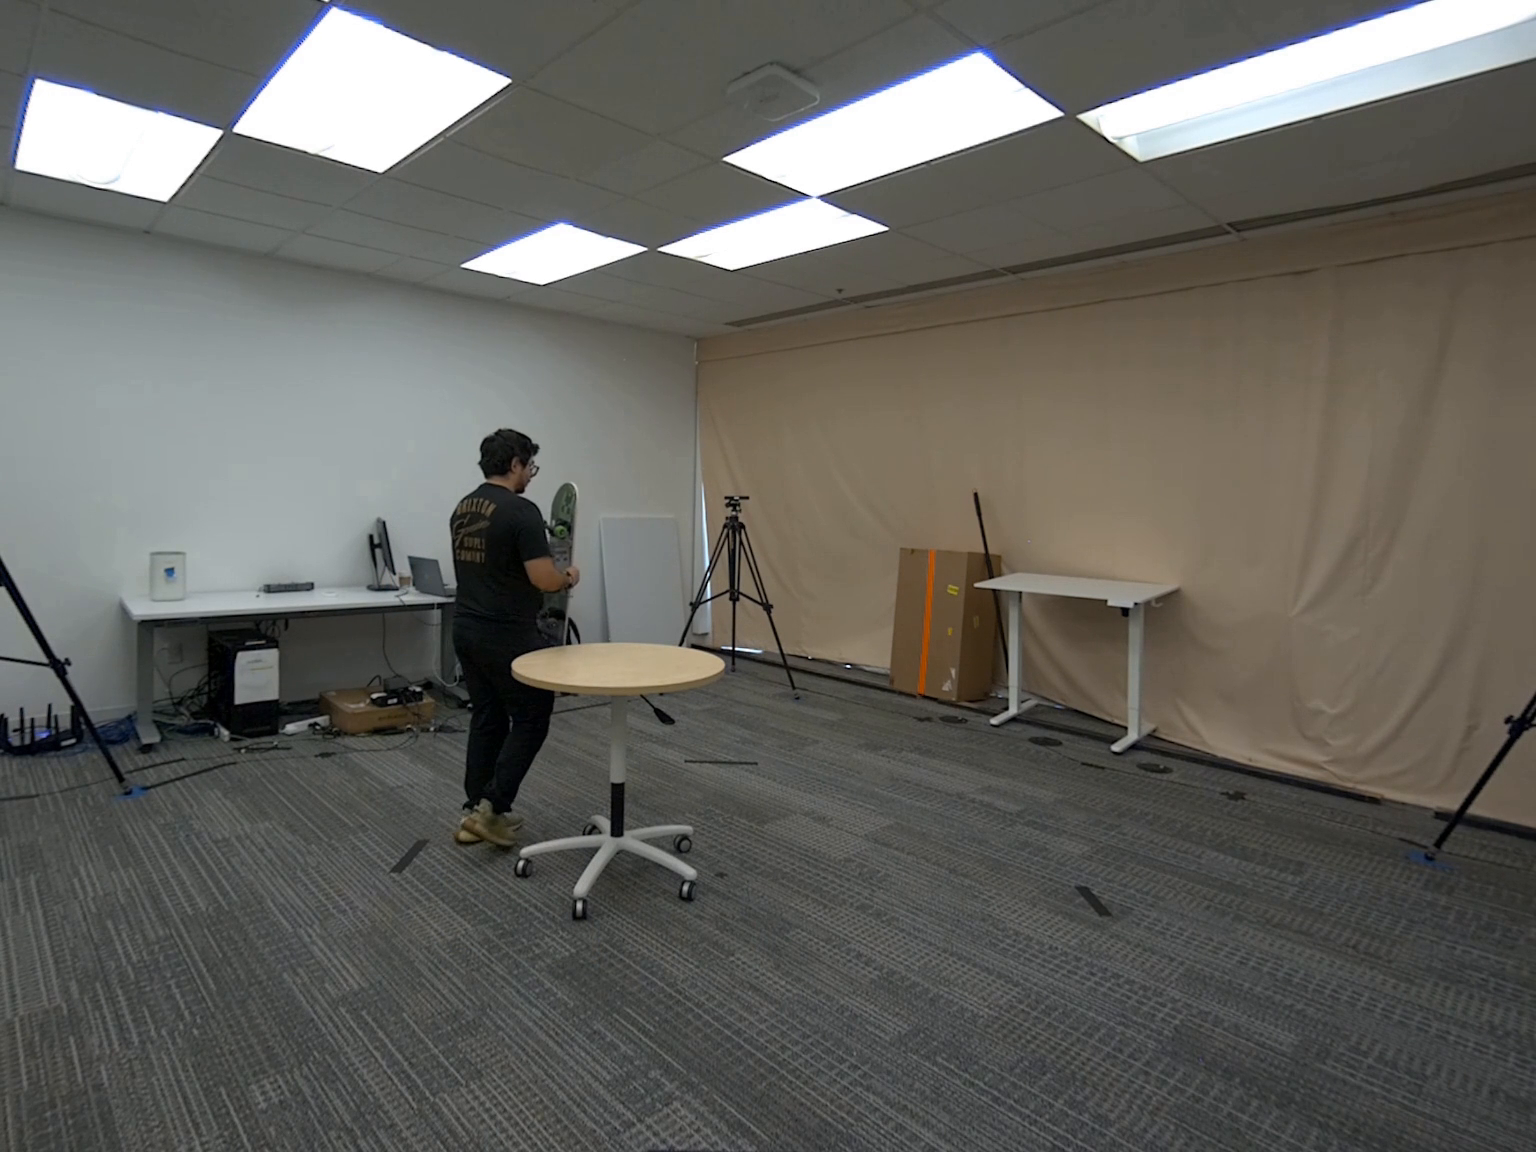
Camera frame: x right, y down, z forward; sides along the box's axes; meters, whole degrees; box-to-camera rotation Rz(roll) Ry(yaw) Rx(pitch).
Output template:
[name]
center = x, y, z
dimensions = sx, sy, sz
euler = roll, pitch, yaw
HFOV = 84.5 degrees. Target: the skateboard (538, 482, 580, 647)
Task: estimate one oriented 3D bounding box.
[skateboard]
center = -0.925, -0.005, 3.602
dimensions = 0.108, 0.780, 0.199
euler = -2, 13, -43
